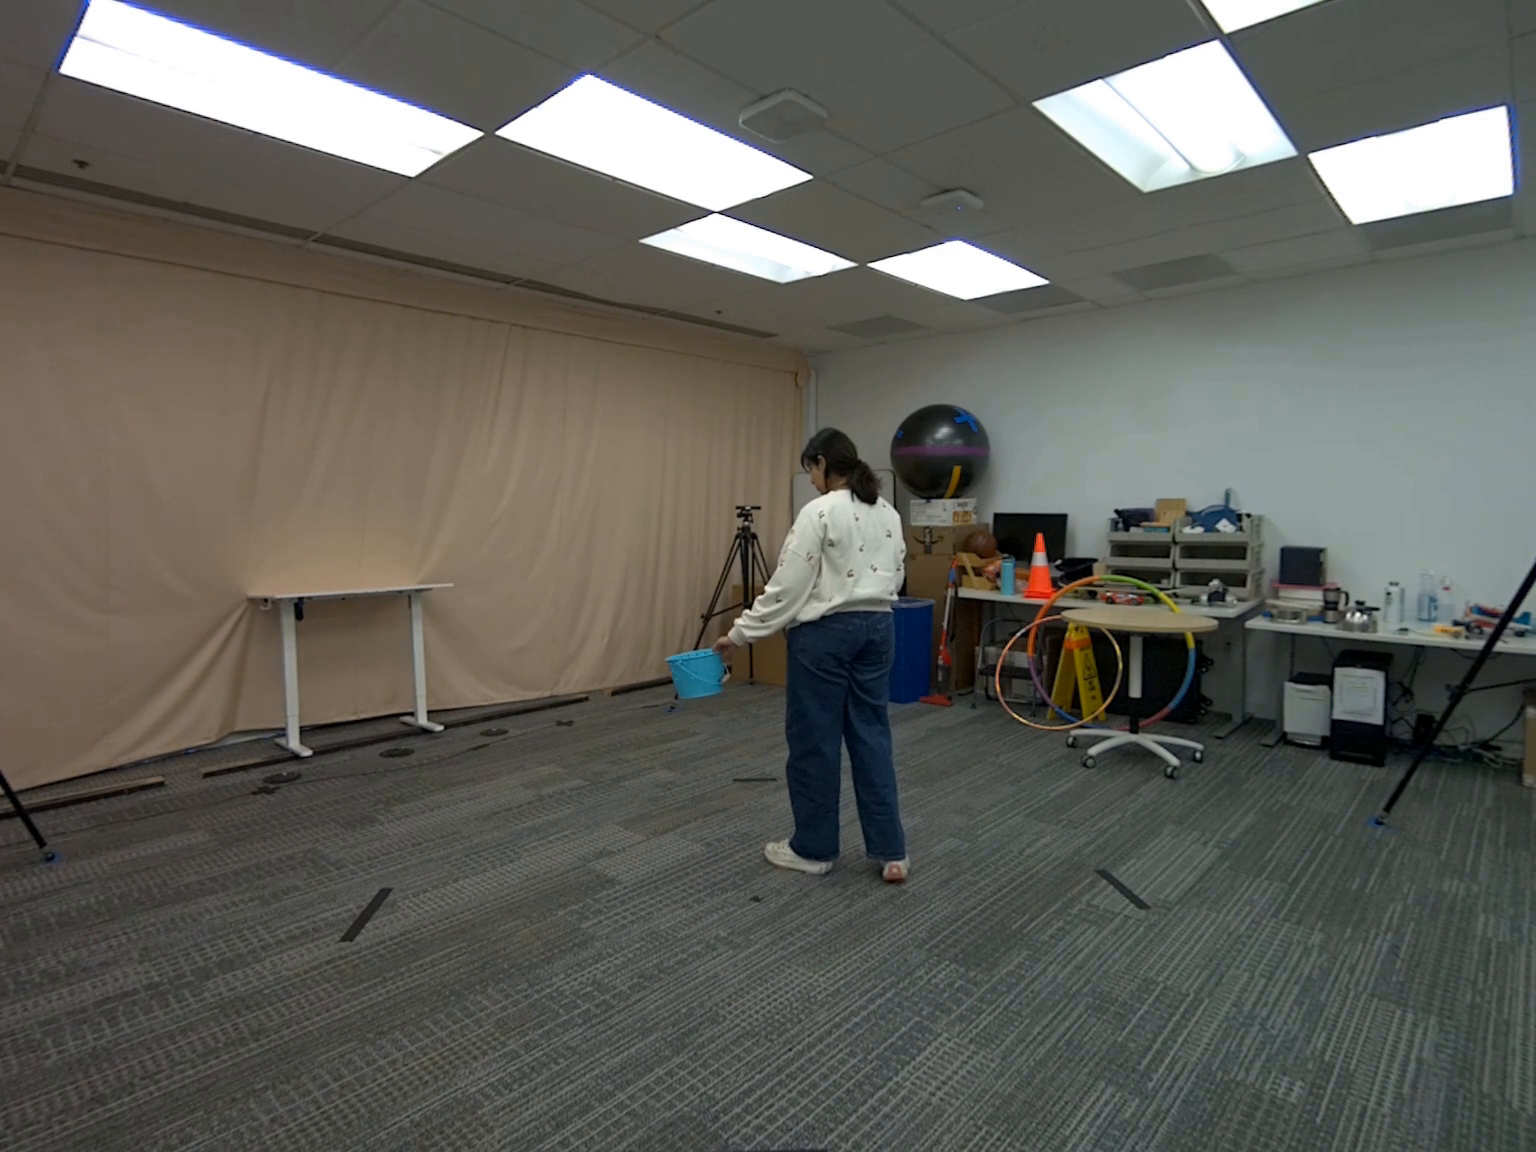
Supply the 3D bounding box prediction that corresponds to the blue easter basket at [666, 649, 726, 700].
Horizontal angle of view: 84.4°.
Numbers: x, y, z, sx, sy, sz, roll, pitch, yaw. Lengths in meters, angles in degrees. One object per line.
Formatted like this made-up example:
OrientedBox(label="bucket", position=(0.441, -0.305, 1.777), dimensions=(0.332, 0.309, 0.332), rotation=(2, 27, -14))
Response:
OrientedBox(label="blue easter basket", position=(-0.242, 0.392, 3.222), dimensions=(0.243, 0.156, 0.243), rotation=(-11, -1, -2))
